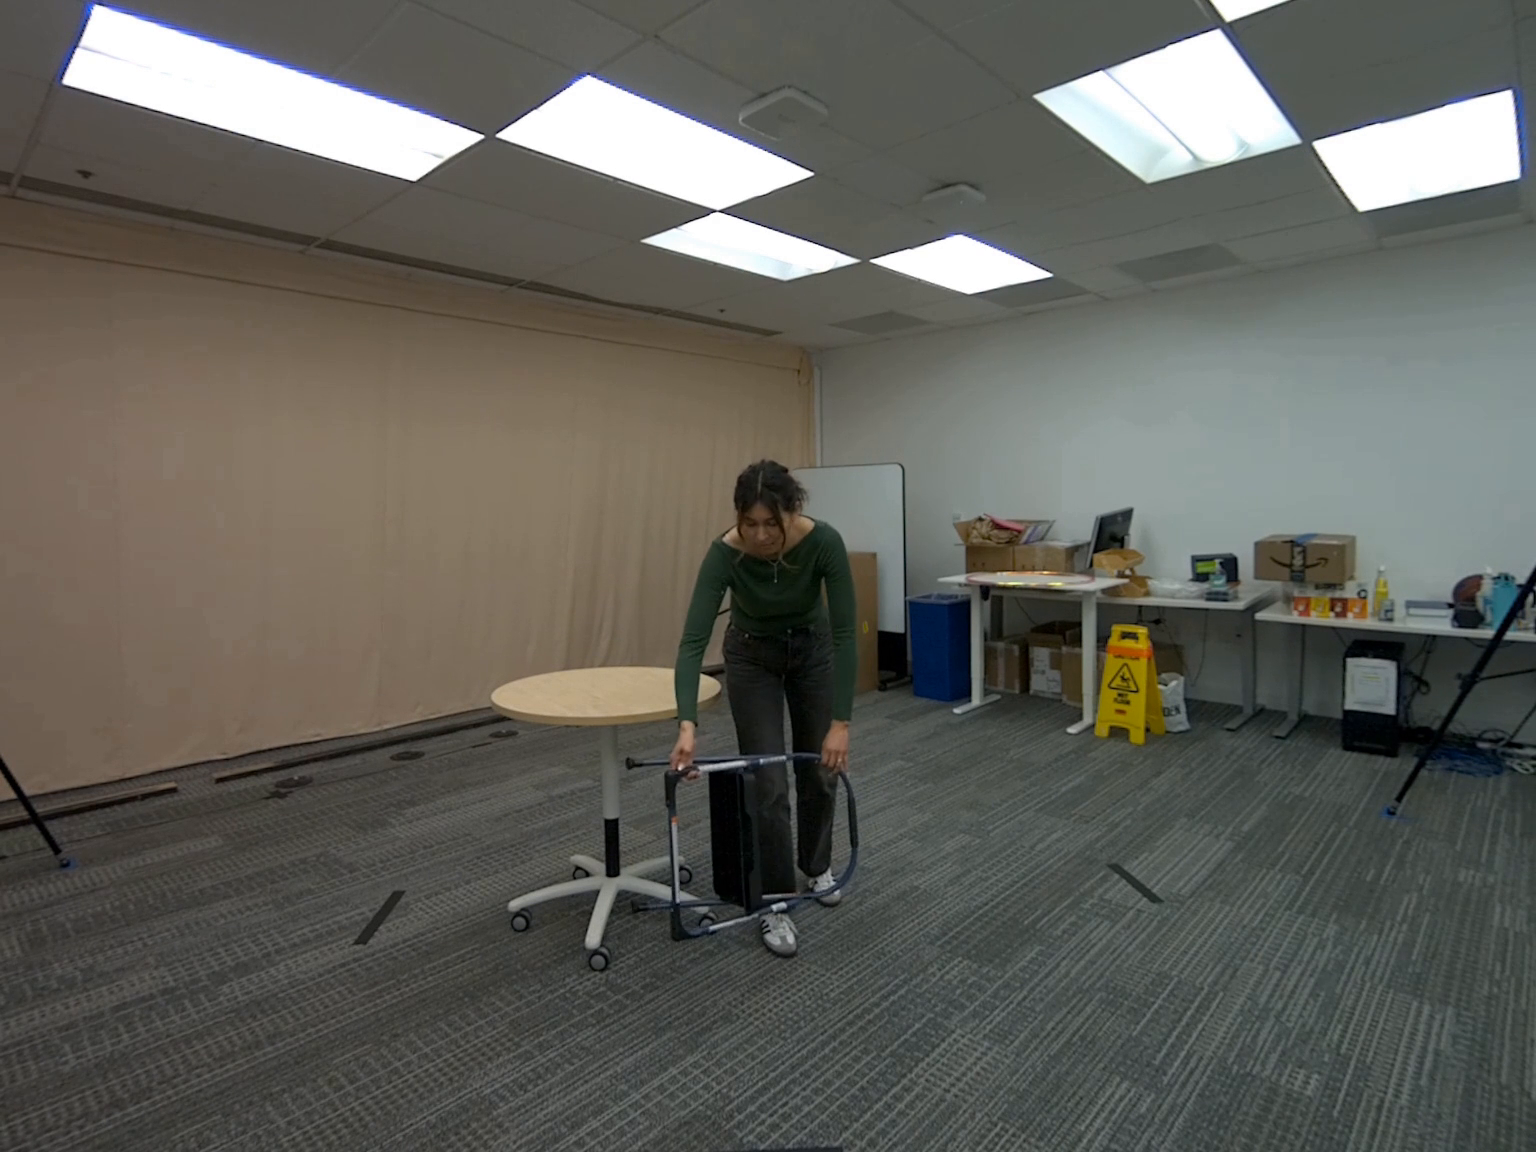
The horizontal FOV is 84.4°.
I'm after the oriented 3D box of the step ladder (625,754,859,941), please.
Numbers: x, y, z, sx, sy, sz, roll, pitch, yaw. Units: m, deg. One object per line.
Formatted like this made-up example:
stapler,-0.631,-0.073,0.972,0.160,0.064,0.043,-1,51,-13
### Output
step ladder,-0.048,0.709,2.375,0.592,0.433,0.356,-1,-7,-24
